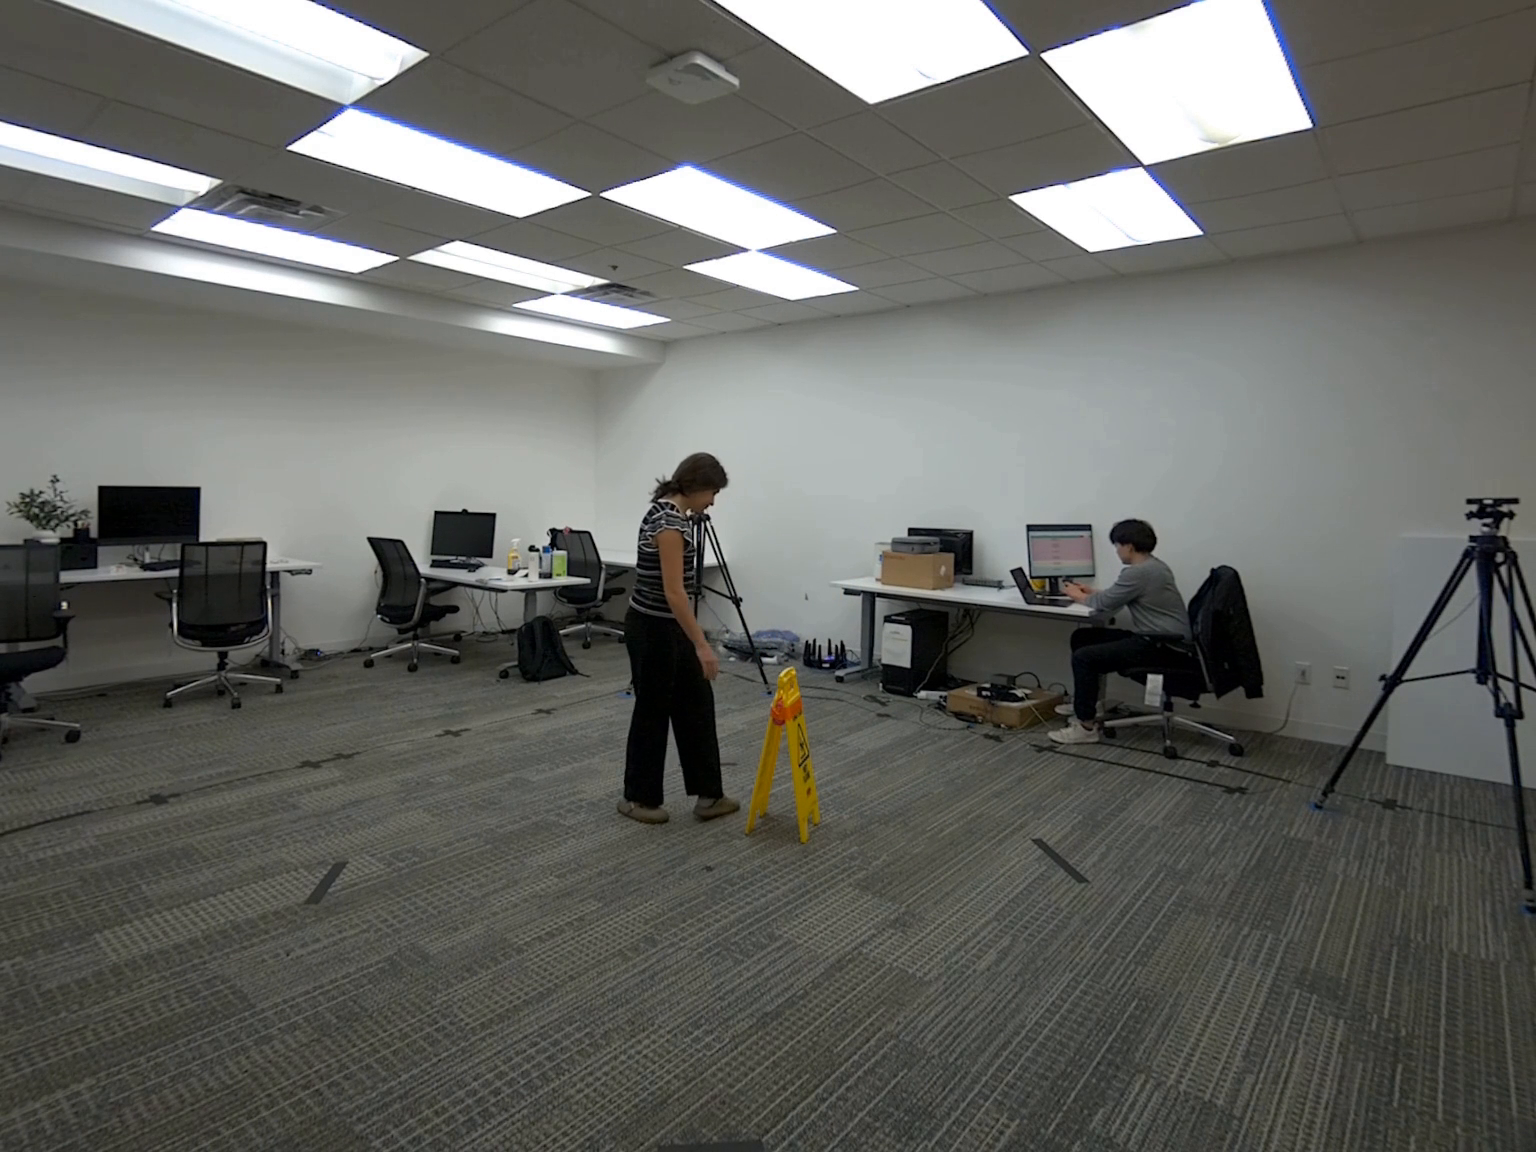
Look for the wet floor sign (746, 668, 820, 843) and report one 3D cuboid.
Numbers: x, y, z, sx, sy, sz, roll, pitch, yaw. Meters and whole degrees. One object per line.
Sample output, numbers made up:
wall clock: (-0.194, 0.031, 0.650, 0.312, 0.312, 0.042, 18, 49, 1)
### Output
wet floor sign: (0.065, 0.711, 3.497, 0.295, 0.643, 0.278, 3, 4, 16)
